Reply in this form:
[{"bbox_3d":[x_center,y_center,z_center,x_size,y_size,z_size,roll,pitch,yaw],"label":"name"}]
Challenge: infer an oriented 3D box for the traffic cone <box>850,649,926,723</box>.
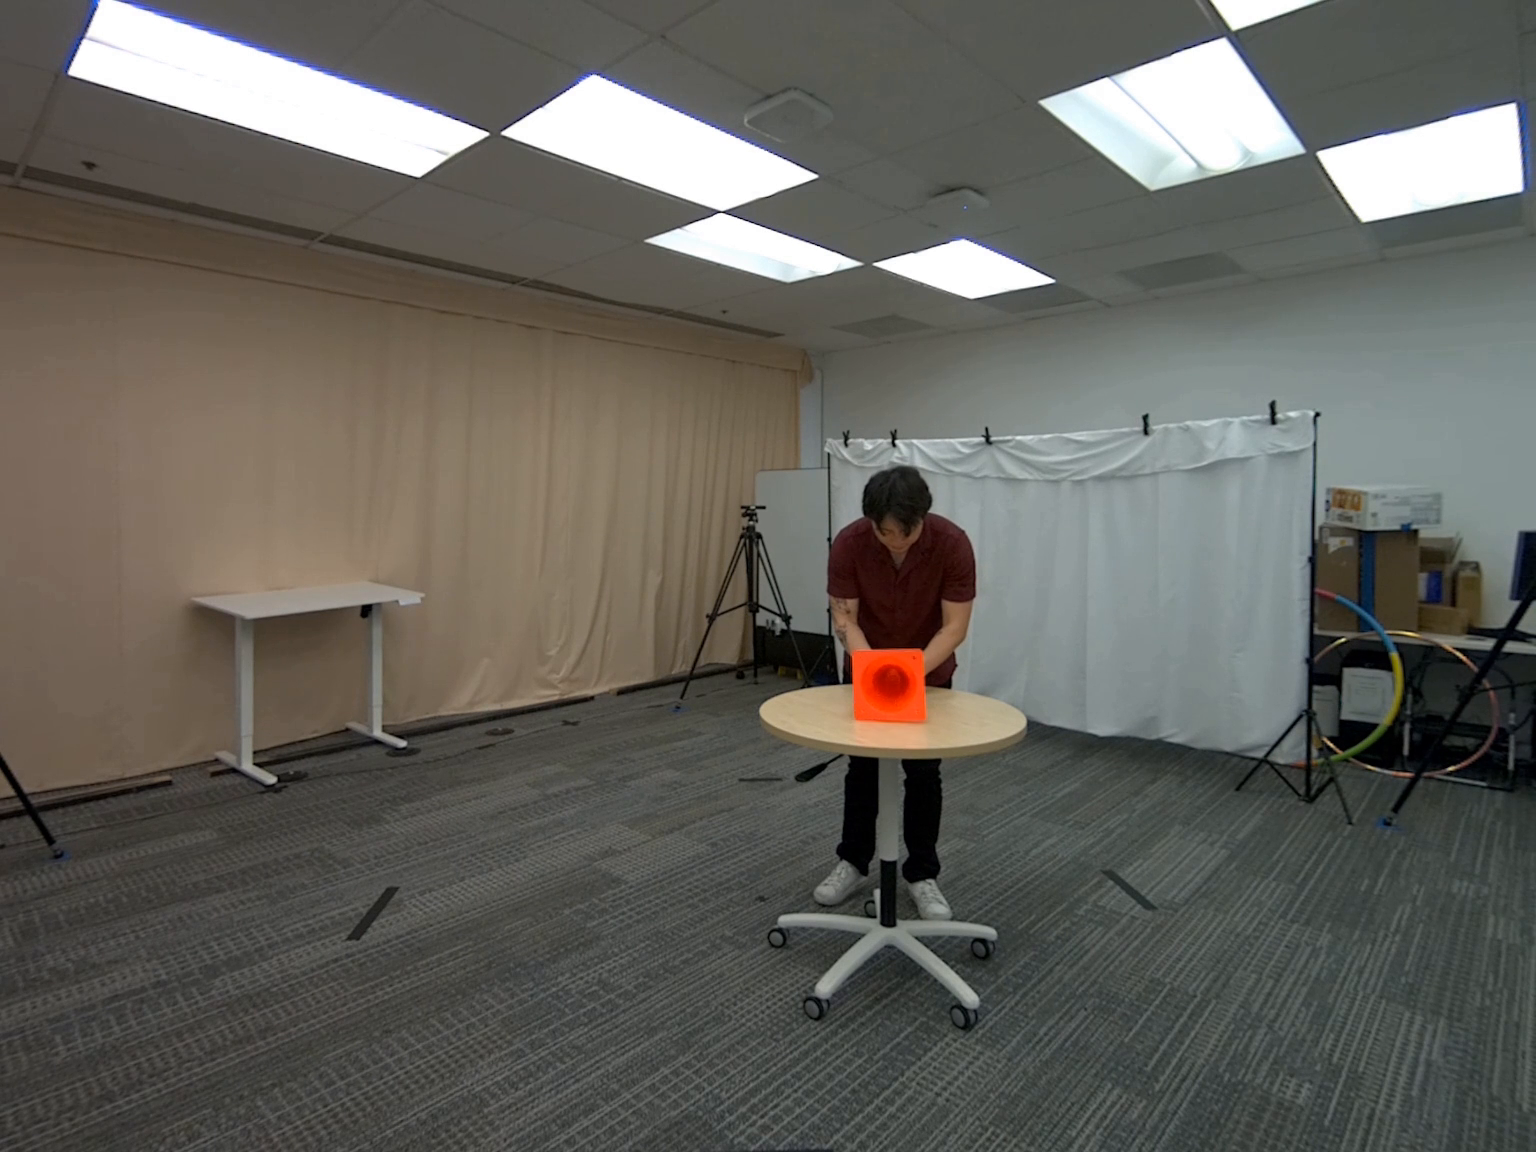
[{"bbox_3d":[0.380,0.311,2.552,0.206,0.205,0.378,7,0,10],"label":"traffic cone"}]
